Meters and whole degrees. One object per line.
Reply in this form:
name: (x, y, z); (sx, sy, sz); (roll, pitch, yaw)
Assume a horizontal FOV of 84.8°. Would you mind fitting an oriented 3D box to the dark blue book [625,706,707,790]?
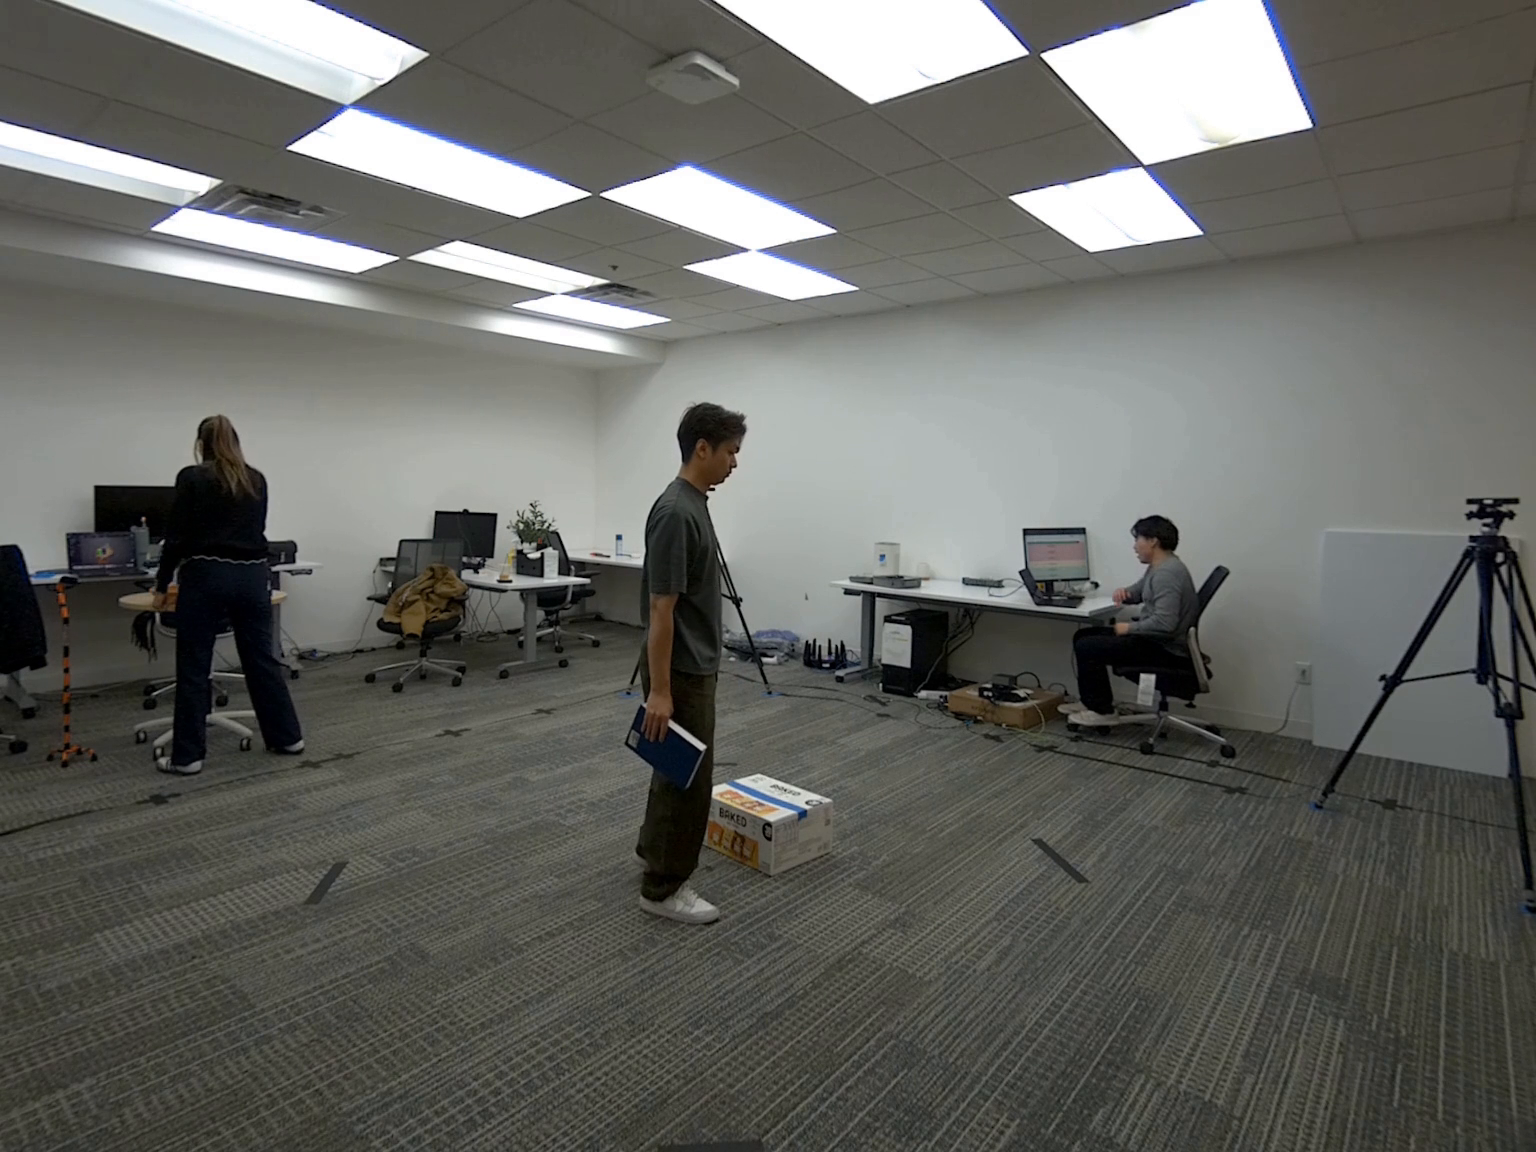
dark blue book: (-0.318, 0.509, 2.593); (0.252, 0.162, 0.044); (32, 22, 21)
